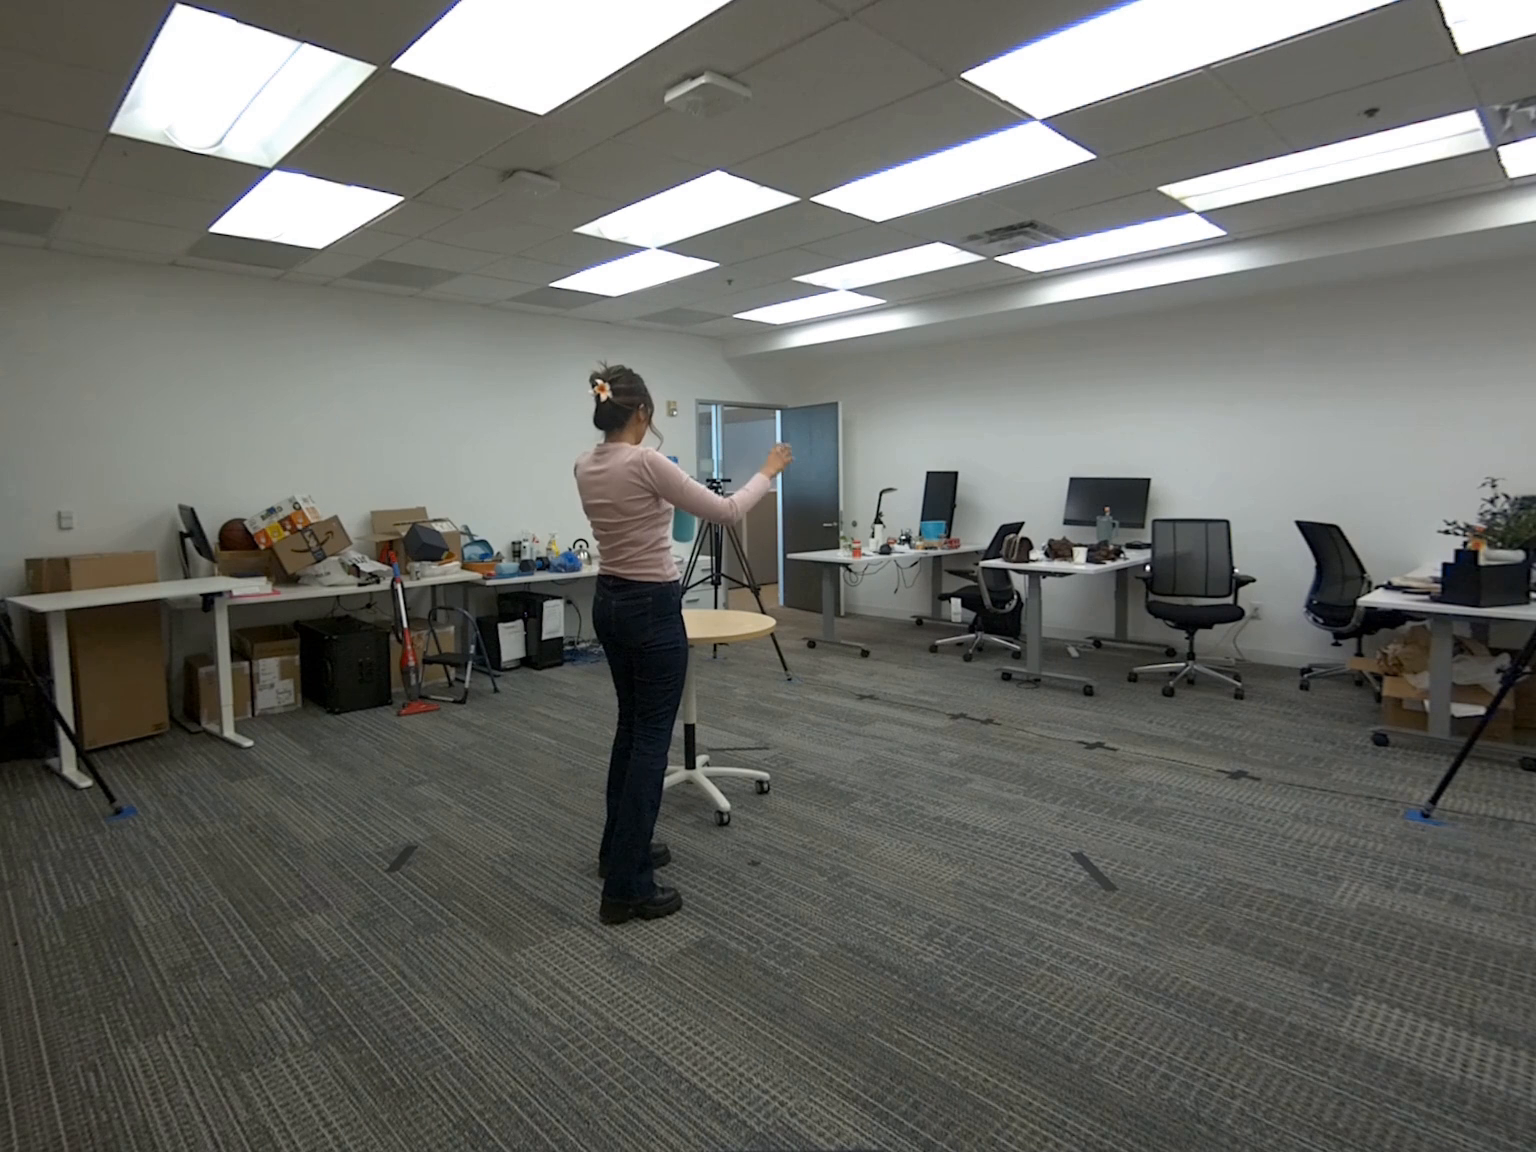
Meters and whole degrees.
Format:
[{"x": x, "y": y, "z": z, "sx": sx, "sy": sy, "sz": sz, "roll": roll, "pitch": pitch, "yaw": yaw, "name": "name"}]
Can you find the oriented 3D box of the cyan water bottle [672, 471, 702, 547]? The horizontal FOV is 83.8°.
[{"x": -0.327, "y": -0.271, "z": 3.437, "sx": 0.092, "sy": 0.278, "sz": 0.094, "roll": 5, "pitch": 27, "yaw": -4, "name": "cyan water bottle"}]
